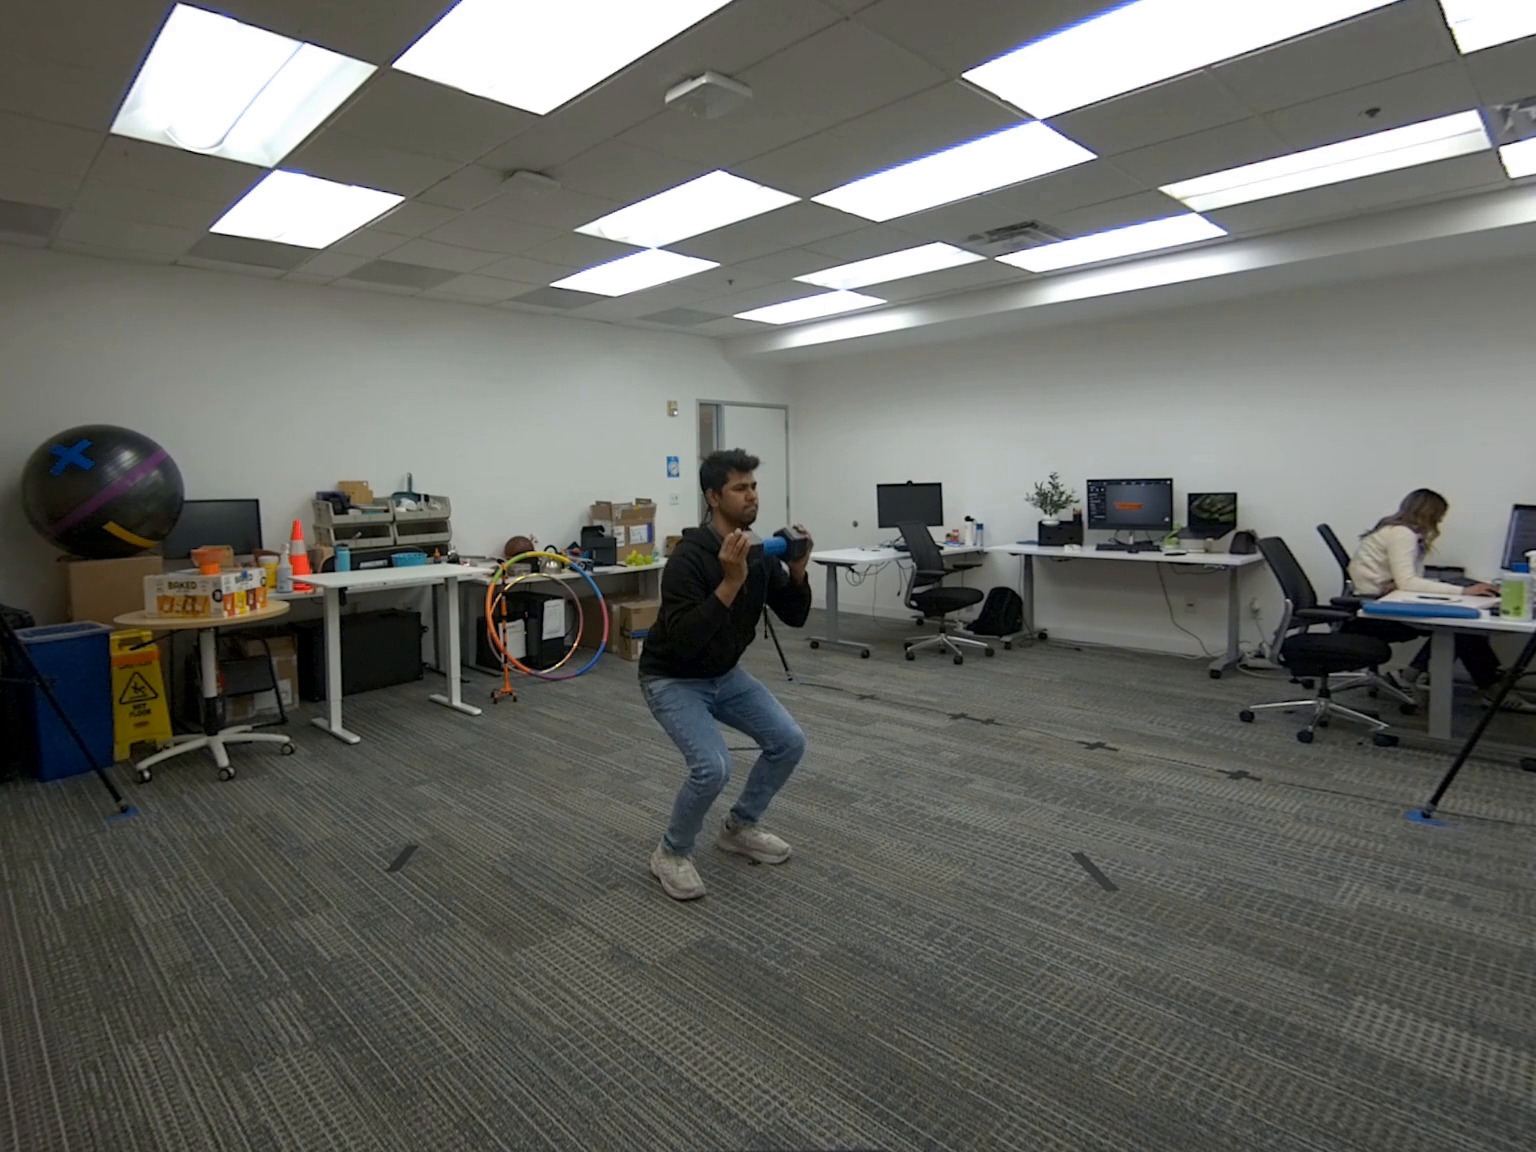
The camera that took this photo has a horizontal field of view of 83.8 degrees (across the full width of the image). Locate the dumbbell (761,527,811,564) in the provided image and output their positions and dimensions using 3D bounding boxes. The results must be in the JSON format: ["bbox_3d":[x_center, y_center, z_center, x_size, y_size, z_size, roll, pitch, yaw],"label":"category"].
[{"bbox_3d":[-0.010,-0.094,2.838,0.286,0.122,0.112,-7,14,-42],"label":"dumbbell"}]
